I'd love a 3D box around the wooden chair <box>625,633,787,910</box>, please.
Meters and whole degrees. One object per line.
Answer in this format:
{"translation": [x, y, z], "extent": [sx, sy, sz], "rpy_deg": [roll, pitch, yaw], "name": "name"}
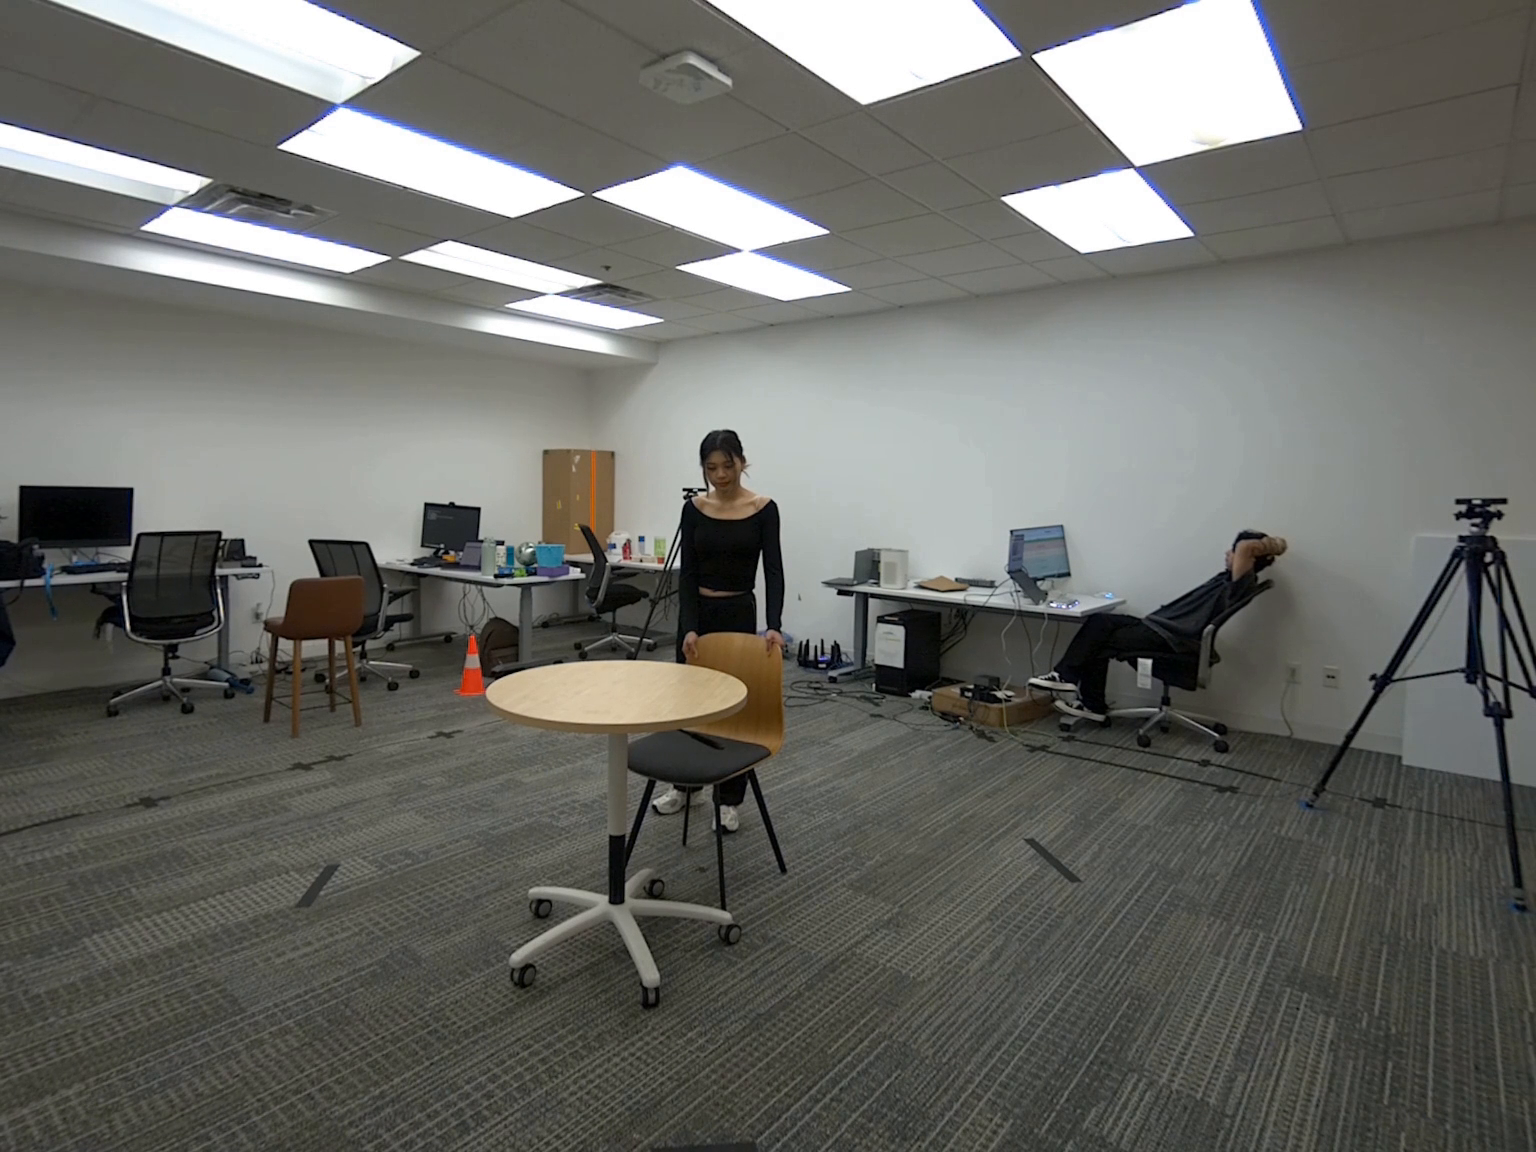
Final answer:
{"translation": [-0.233, 0.651, 2.986], "extent": [0.492, 0.878, 0.508], "rpy_deg": [3, -1, 29], "name": "wooden chair"}
